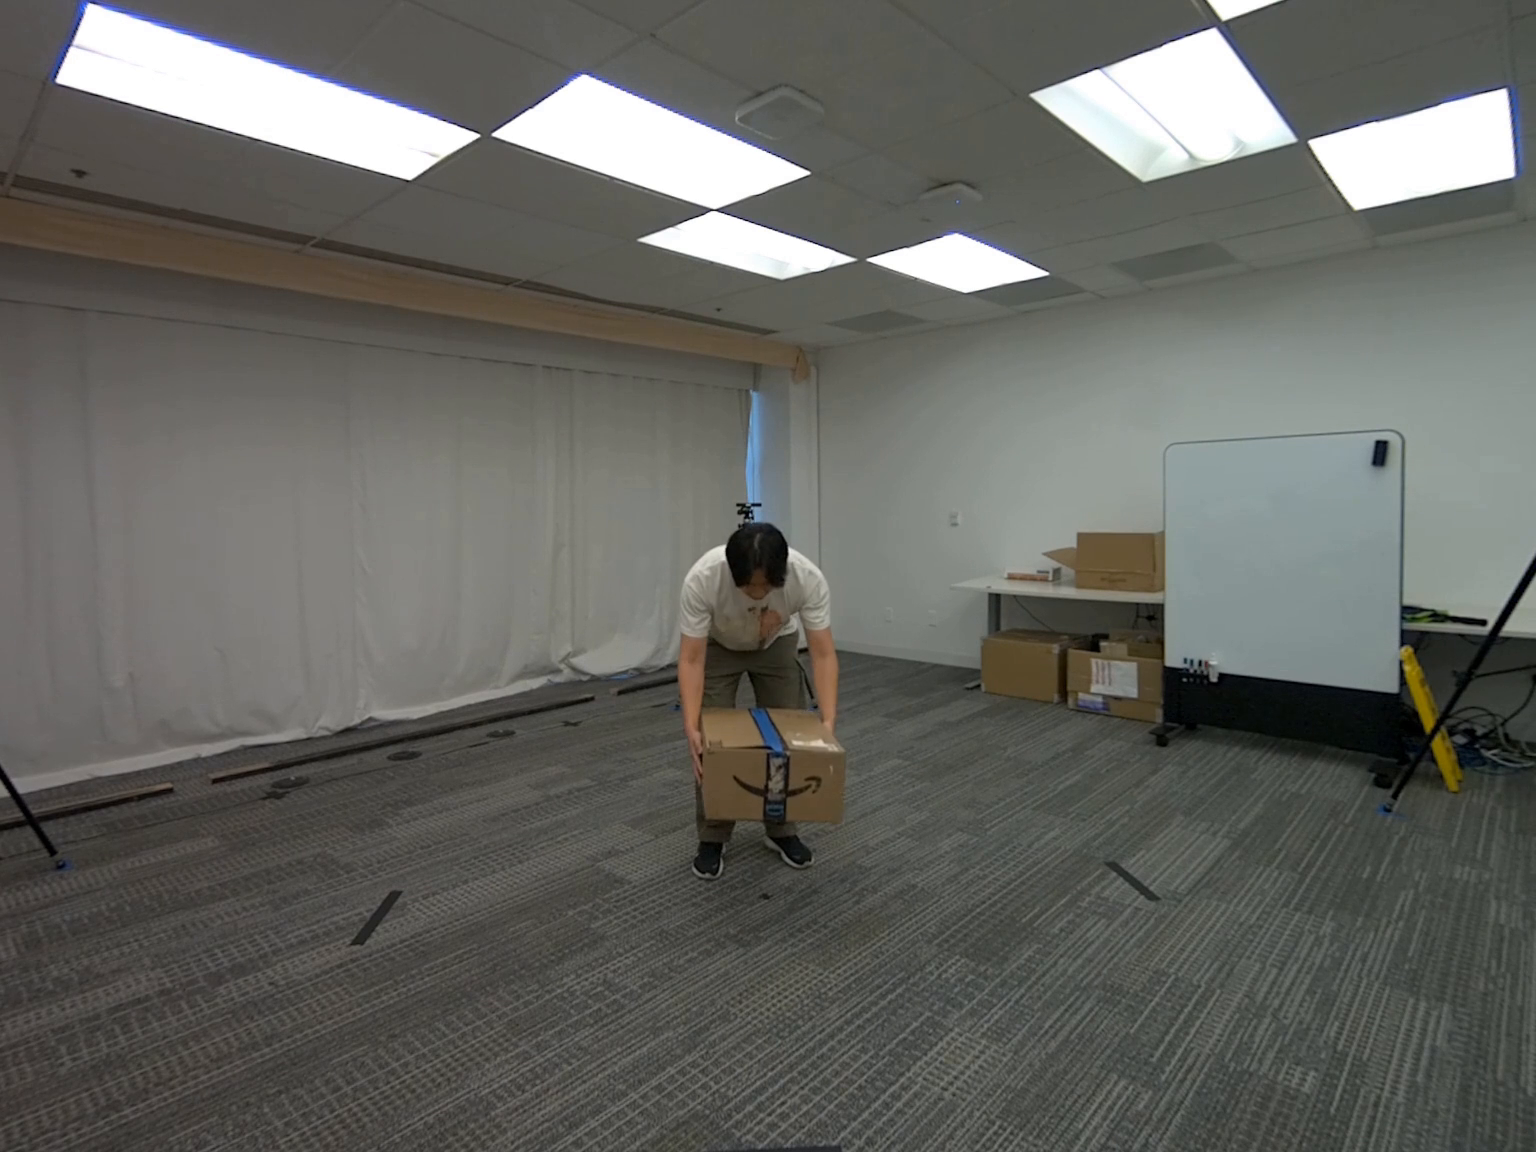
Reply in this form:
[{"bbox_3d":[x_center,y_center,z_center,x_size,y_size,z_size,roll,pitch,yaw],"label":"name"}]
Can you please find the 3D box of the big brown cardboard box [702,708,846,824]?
[{"bbox_3d":[-0.007,0.601,2.774,0.415,0.233,0.592,2,2,-6],"label":"big brown cardboard box"}]
